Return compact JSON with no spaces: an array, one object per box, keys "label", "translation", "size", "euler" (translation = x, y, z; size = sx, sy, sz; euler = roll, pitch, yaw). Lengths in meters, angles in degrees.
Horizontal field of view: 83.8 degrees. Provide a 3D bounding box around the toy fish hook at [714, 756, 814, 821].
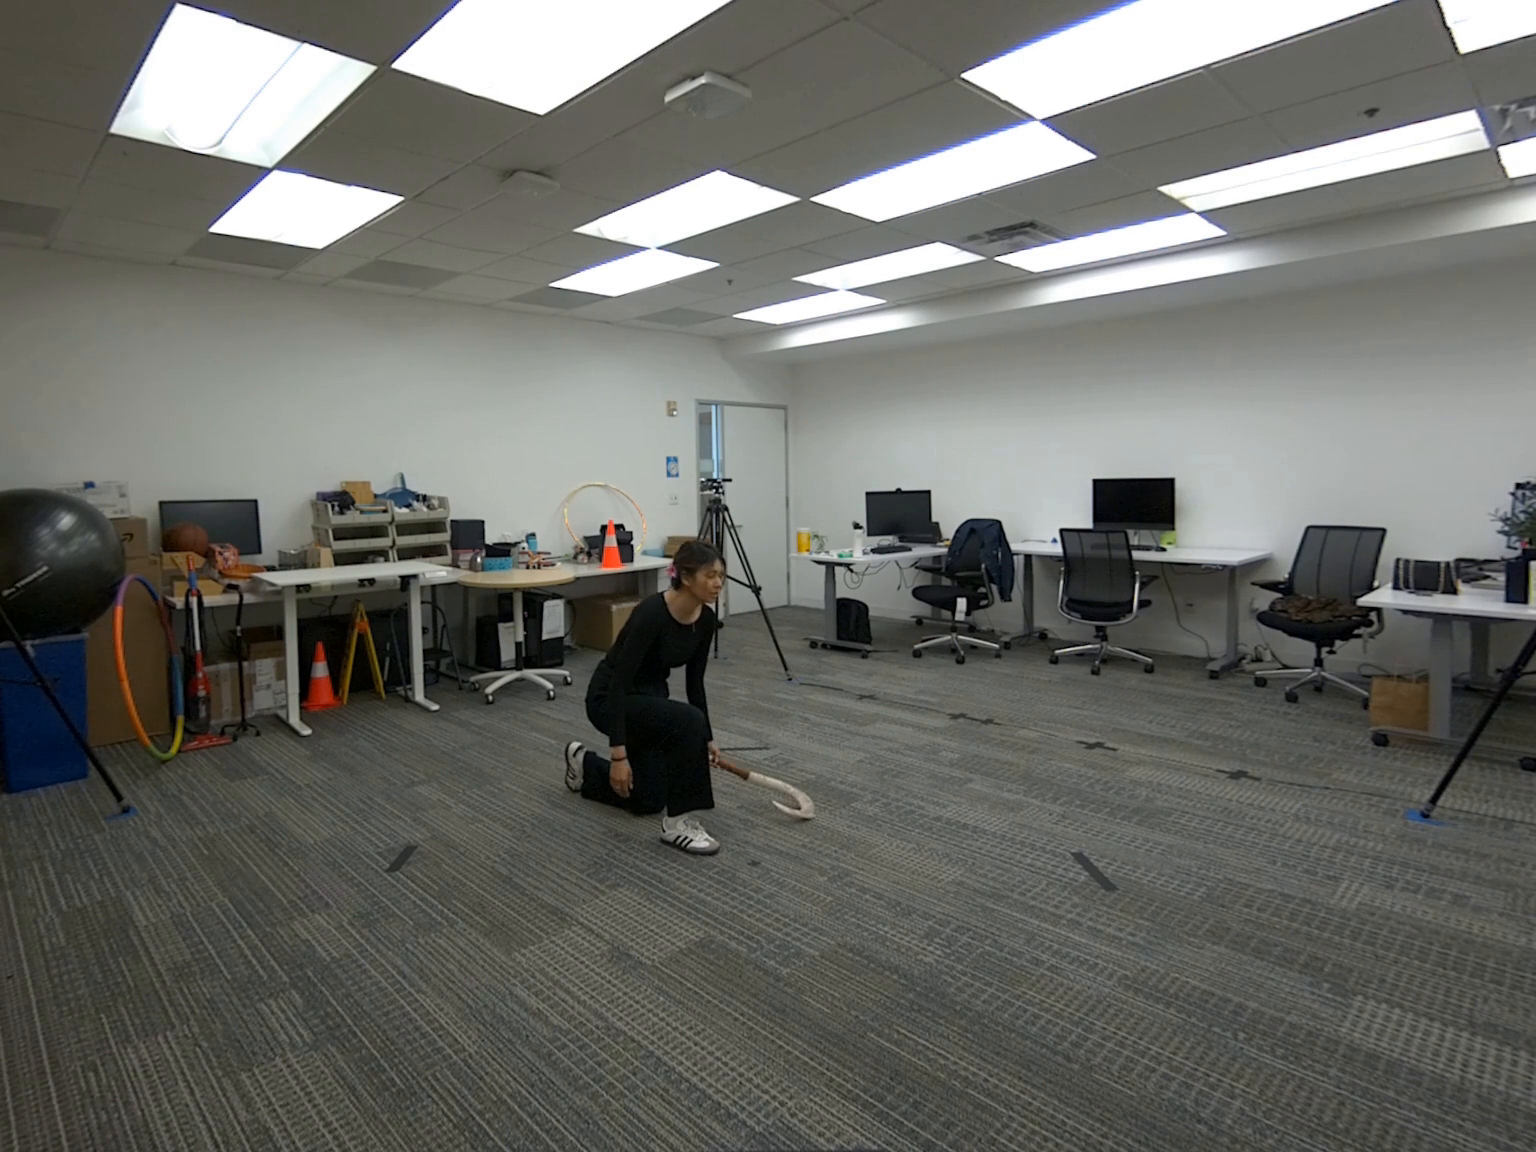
[{"label":"toy fish hook","translation":[-0.034,0.861,3.530],"size":[0.505,0.048,0.226],"euler":[25,8,-2]}]
